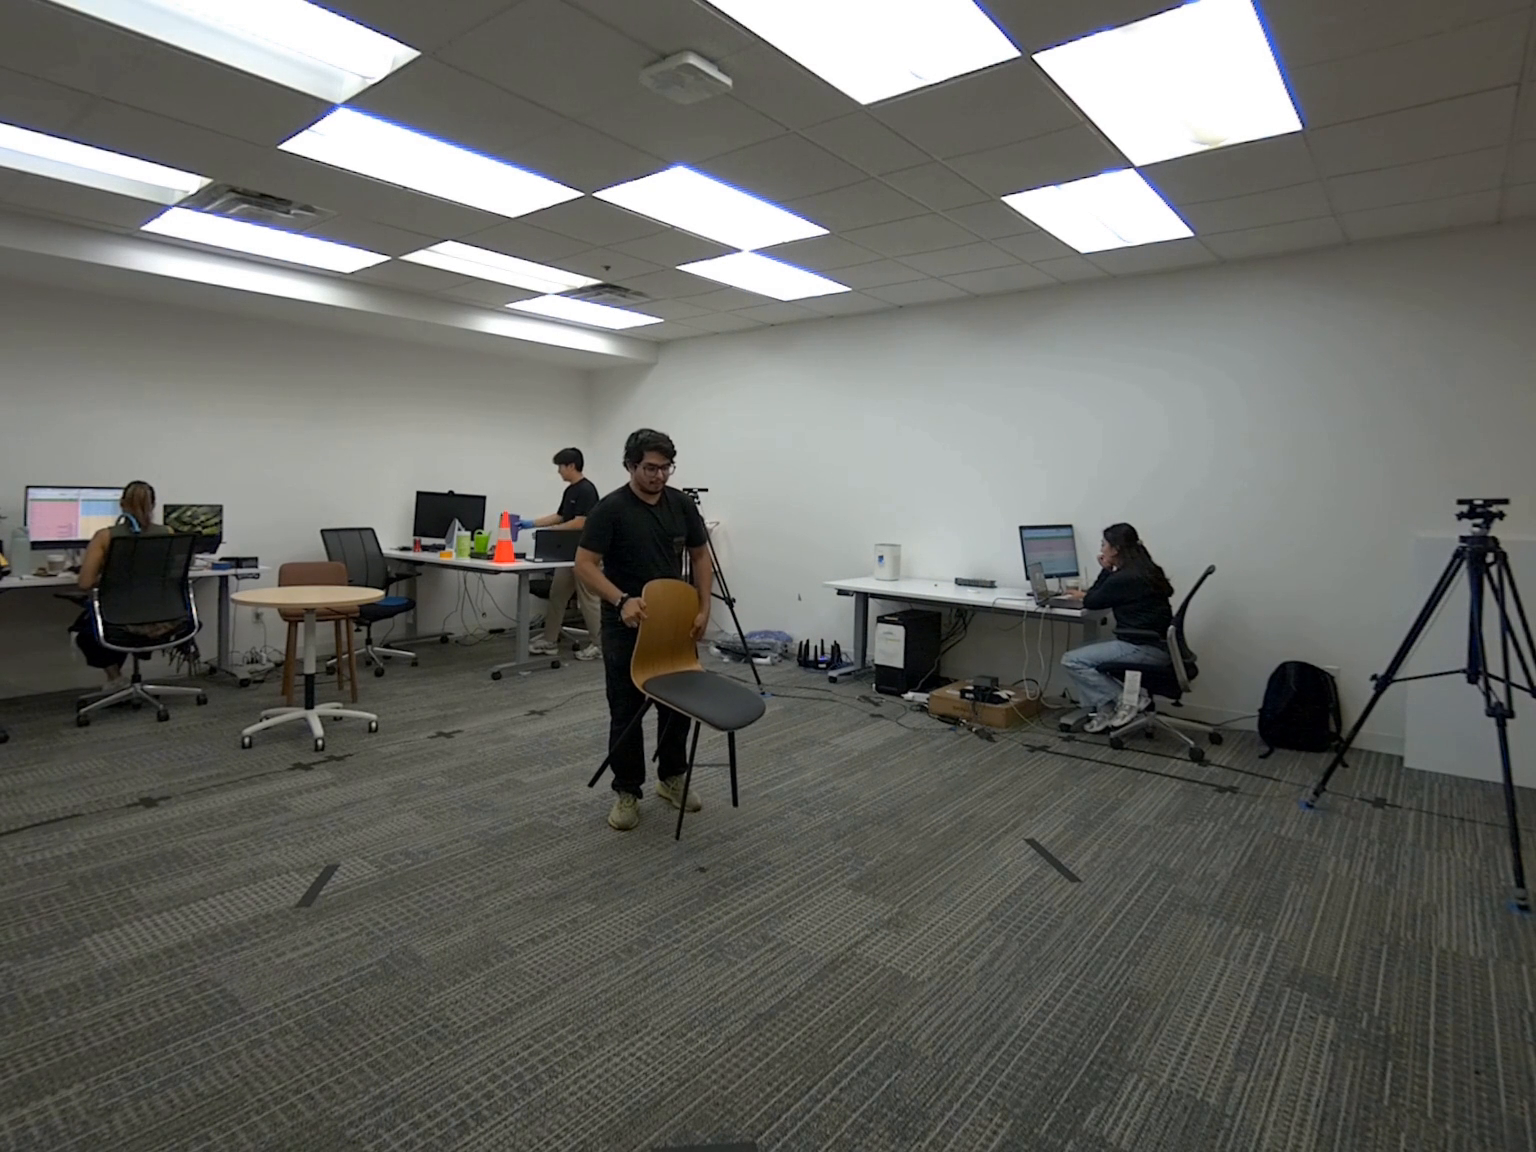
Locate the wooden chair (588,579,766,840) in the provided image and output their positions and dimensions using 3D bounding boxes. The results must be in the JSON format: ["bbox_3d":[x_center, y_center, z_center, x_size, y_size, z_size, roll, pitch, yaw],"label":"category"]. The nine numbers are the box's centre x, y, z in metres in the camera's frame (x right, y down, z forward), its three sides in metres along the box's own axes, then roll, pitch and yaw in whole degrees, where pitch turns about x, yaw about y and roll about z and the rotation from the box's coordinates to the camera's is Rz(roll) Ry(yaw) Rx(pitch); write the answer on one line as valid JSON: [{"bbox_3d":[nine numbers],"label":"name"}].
[{"bbox_3d":[-0.310,0.504,3.387,0.540,0.873,0.466,15,8,27],"label":"wooden chair"}]
